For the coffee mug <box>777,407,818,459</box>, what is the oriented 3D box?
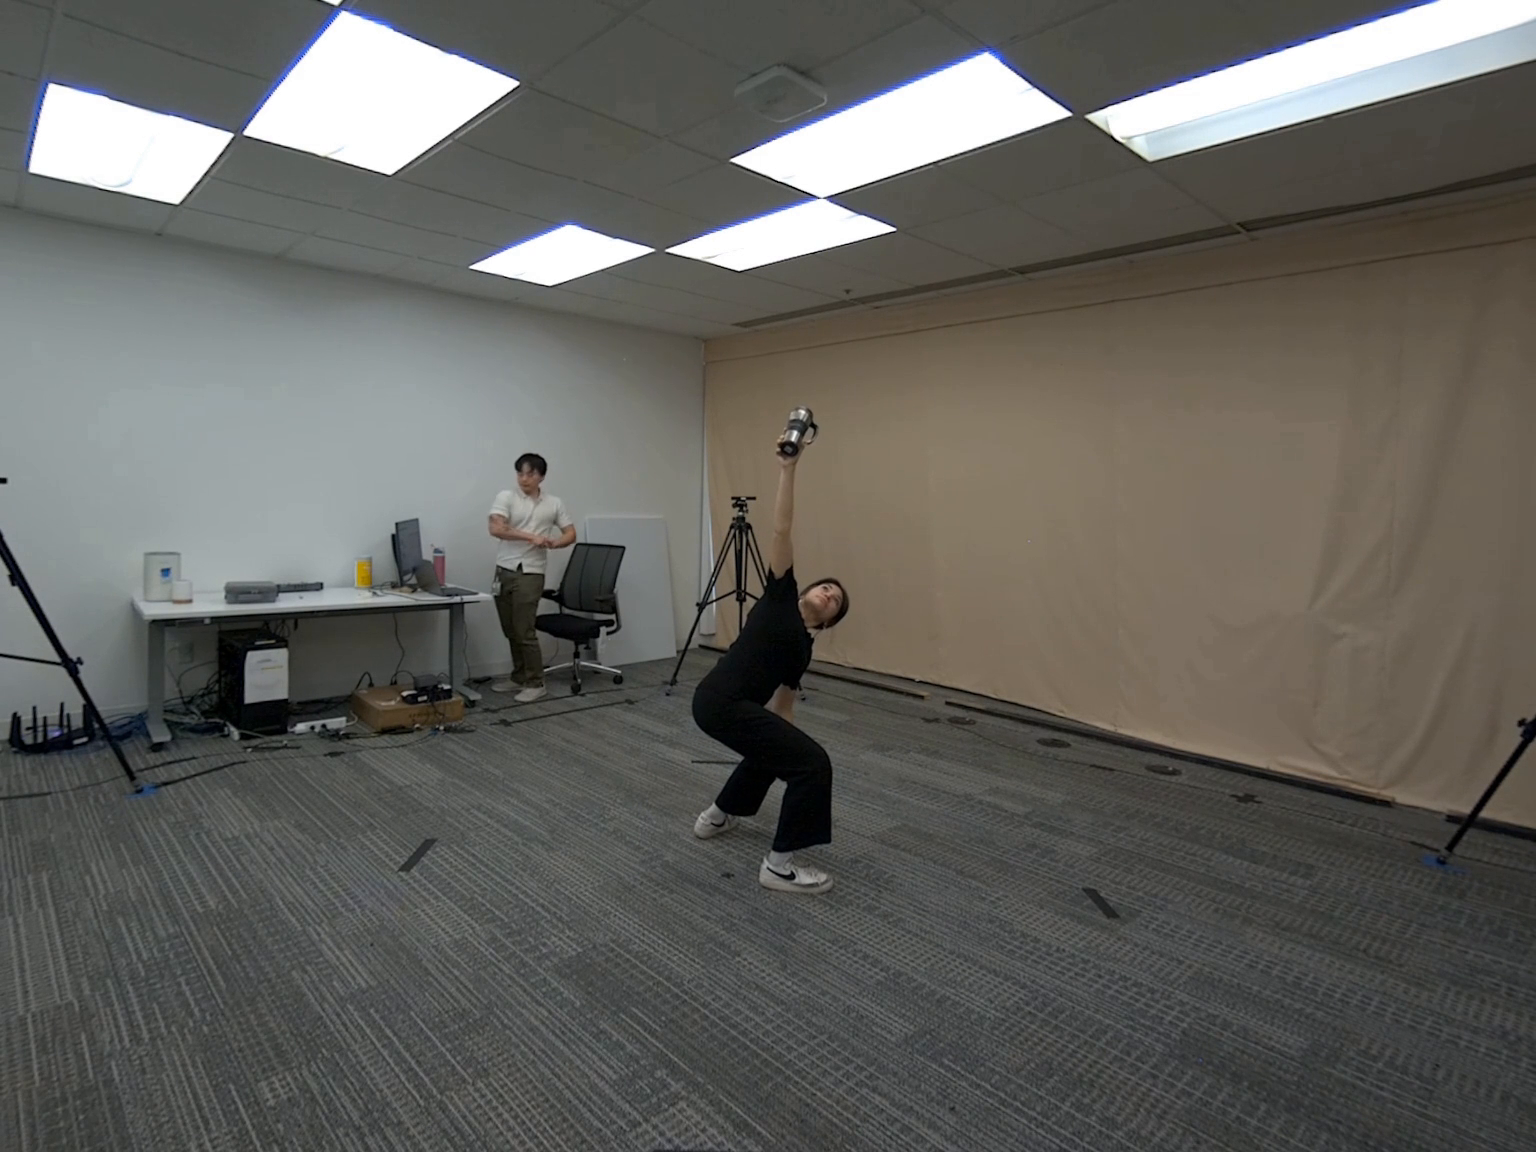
[{"bbox_3d":[0.123,-0.535,3.164,0.122,0.205,0.086,18,-37,1],"label":"coffee mug"}]
